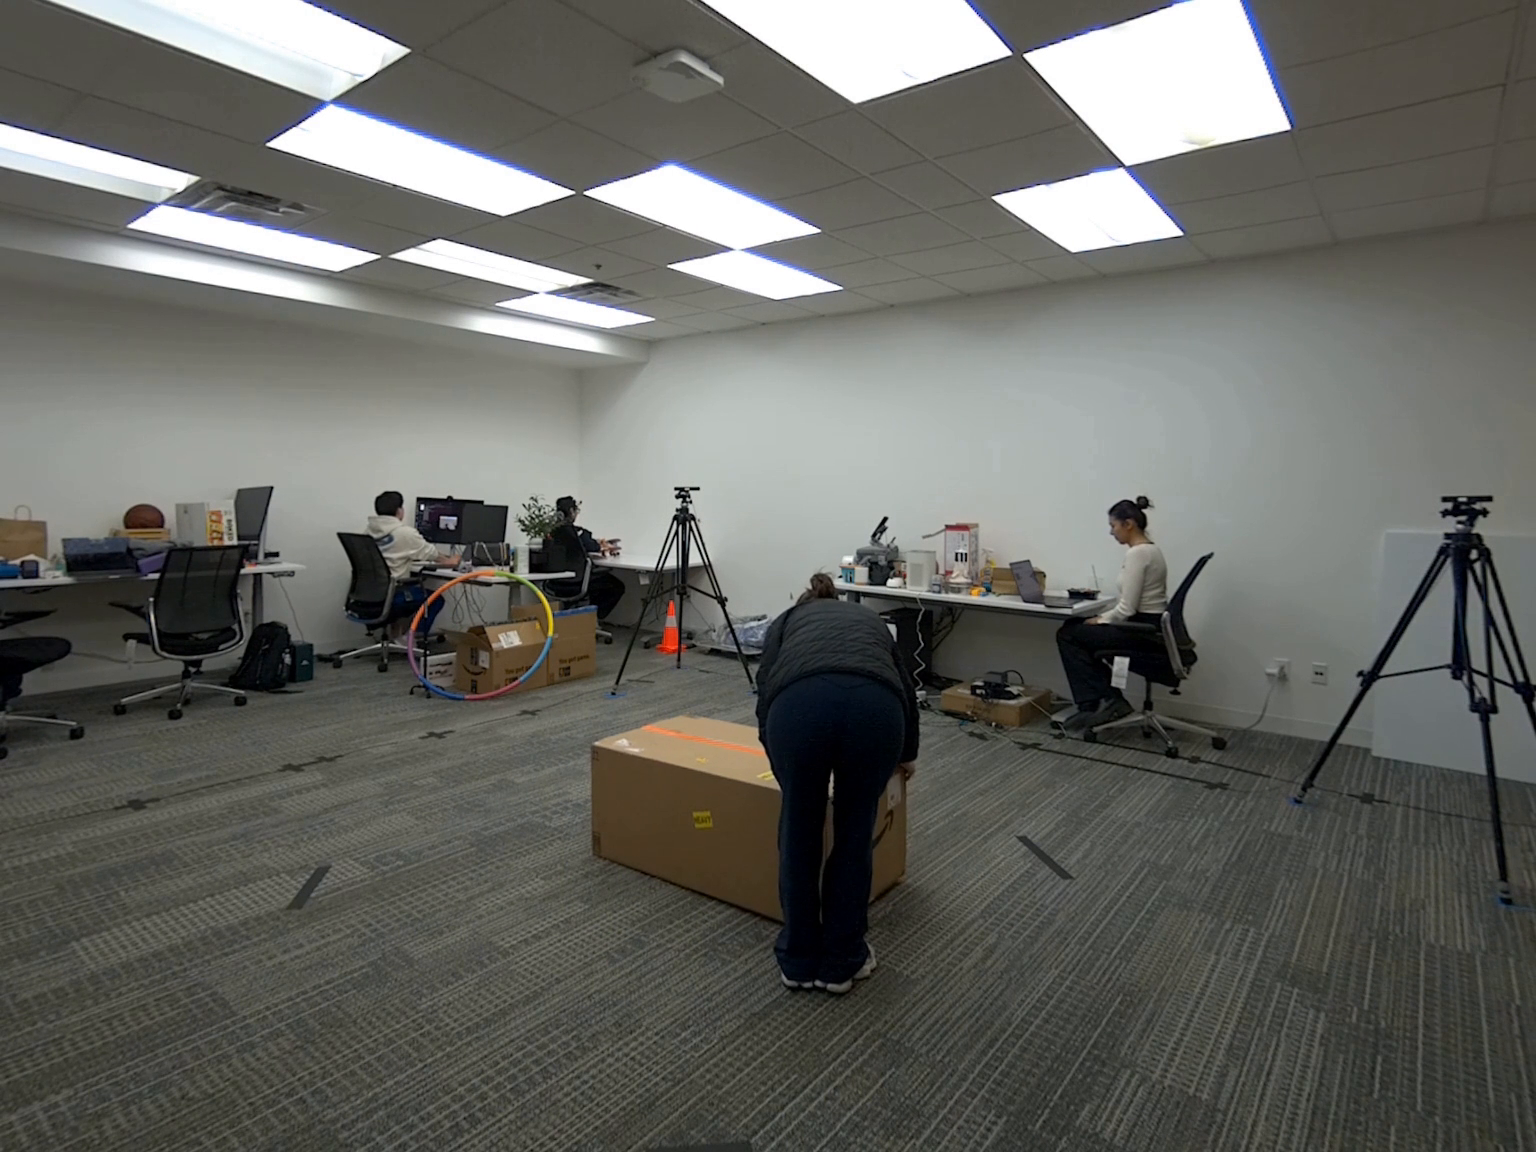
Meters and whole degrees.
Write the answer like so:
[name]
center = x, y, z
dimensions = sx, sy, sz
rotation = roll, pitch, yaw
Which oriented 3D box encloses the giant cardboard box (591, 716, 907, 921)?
[giant cardboard box]
center = -0.073, 0.840, 3.131
dimensions = 1.059, 0.425, 0.561
rotation = 3, 6, 37
